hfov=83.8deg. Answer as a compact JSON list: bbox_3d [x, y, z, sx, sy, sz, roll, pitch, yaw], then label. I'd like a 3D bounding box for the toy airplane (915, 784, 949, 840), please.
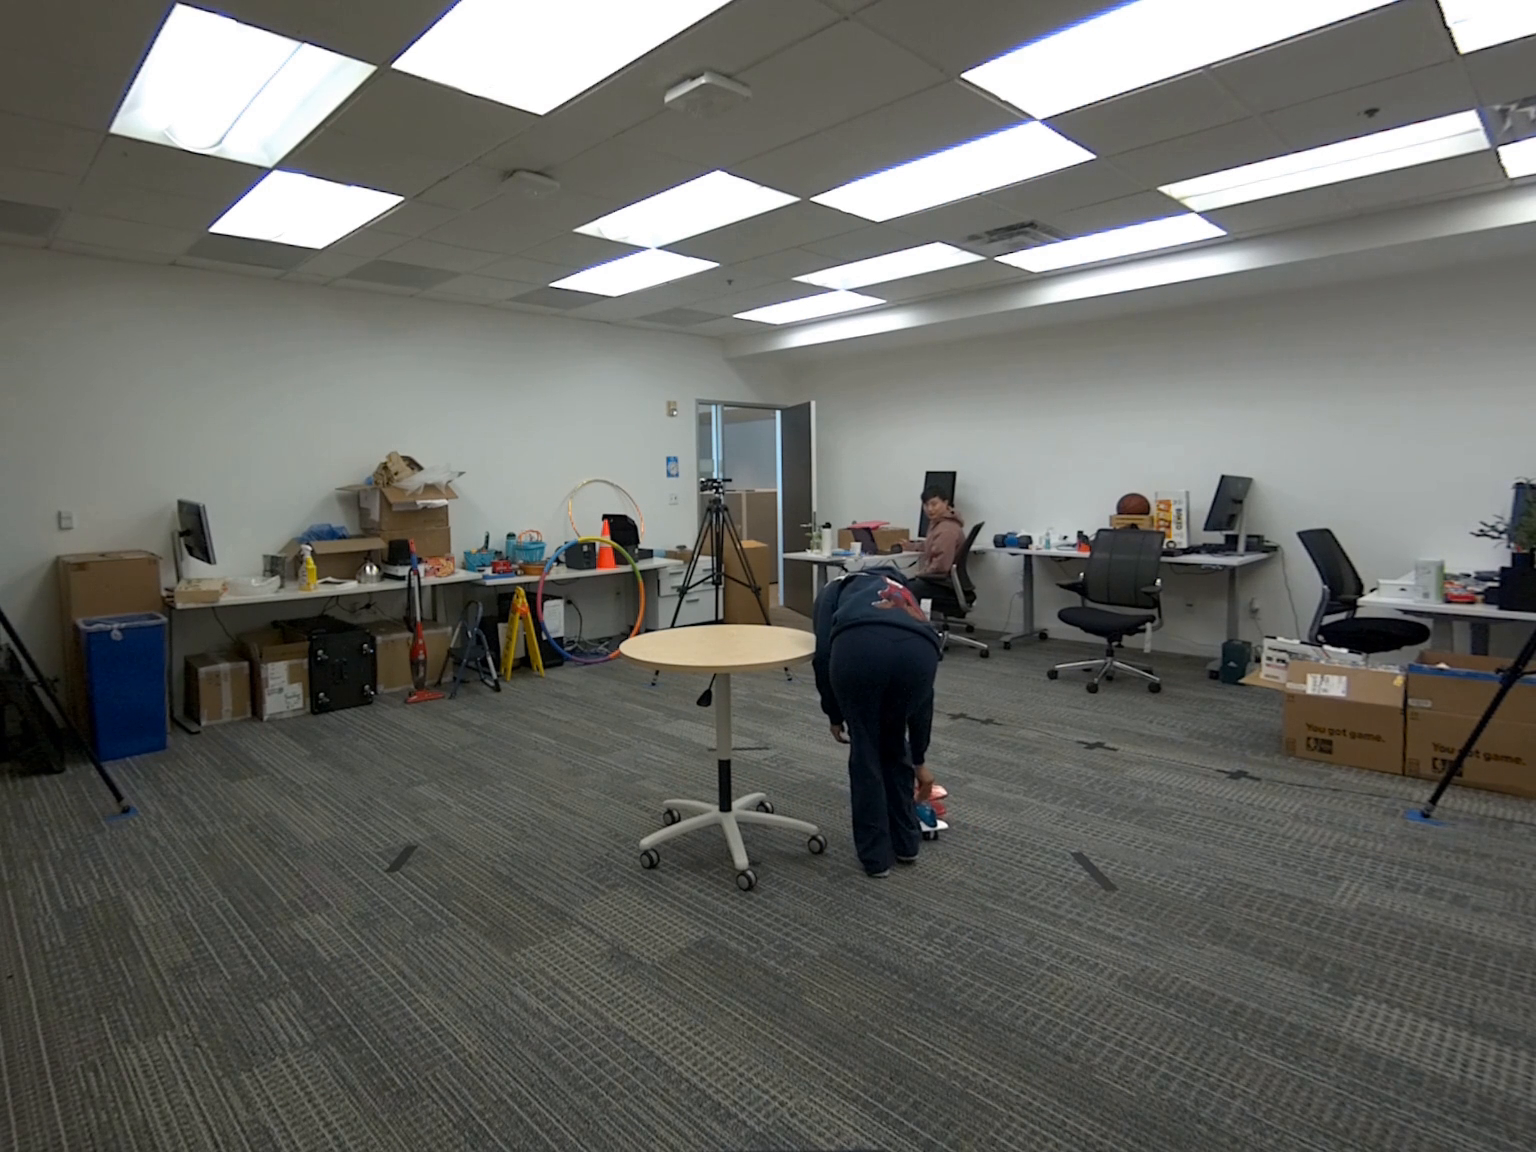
[{"bbox_3d":[0.616,0.930,3.373,0.244,0.155,0.267,-7,9,-42],"label":"toy airplane"}]
